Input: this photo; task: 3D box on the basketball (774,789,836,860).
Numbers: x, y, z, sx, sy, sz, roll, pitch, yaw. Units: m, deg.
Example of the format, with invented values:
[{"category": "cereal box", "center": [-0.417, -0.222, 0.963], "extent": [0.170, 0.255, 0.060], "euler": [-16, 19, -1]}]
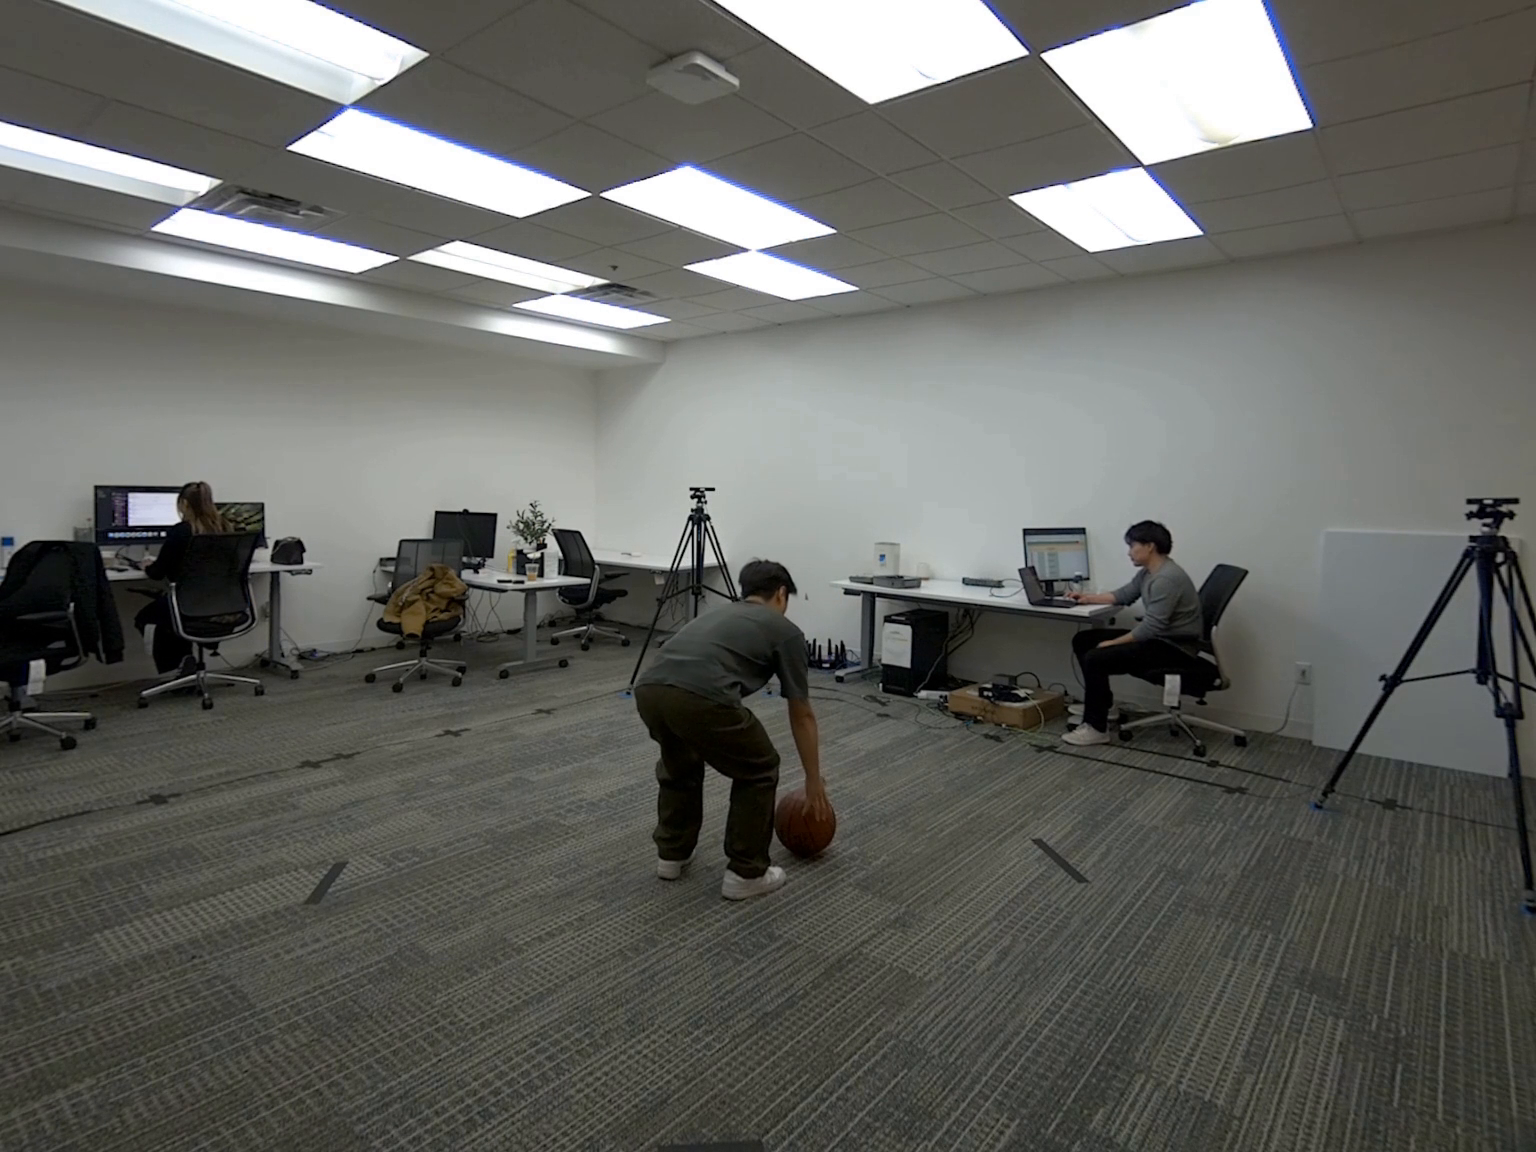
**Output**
[{"category": "basketball", "center": [0.132, 0.934, 3.258], "extent": [0.235, 0.235, 0.237], "euler": [1, 4, -2]}]
